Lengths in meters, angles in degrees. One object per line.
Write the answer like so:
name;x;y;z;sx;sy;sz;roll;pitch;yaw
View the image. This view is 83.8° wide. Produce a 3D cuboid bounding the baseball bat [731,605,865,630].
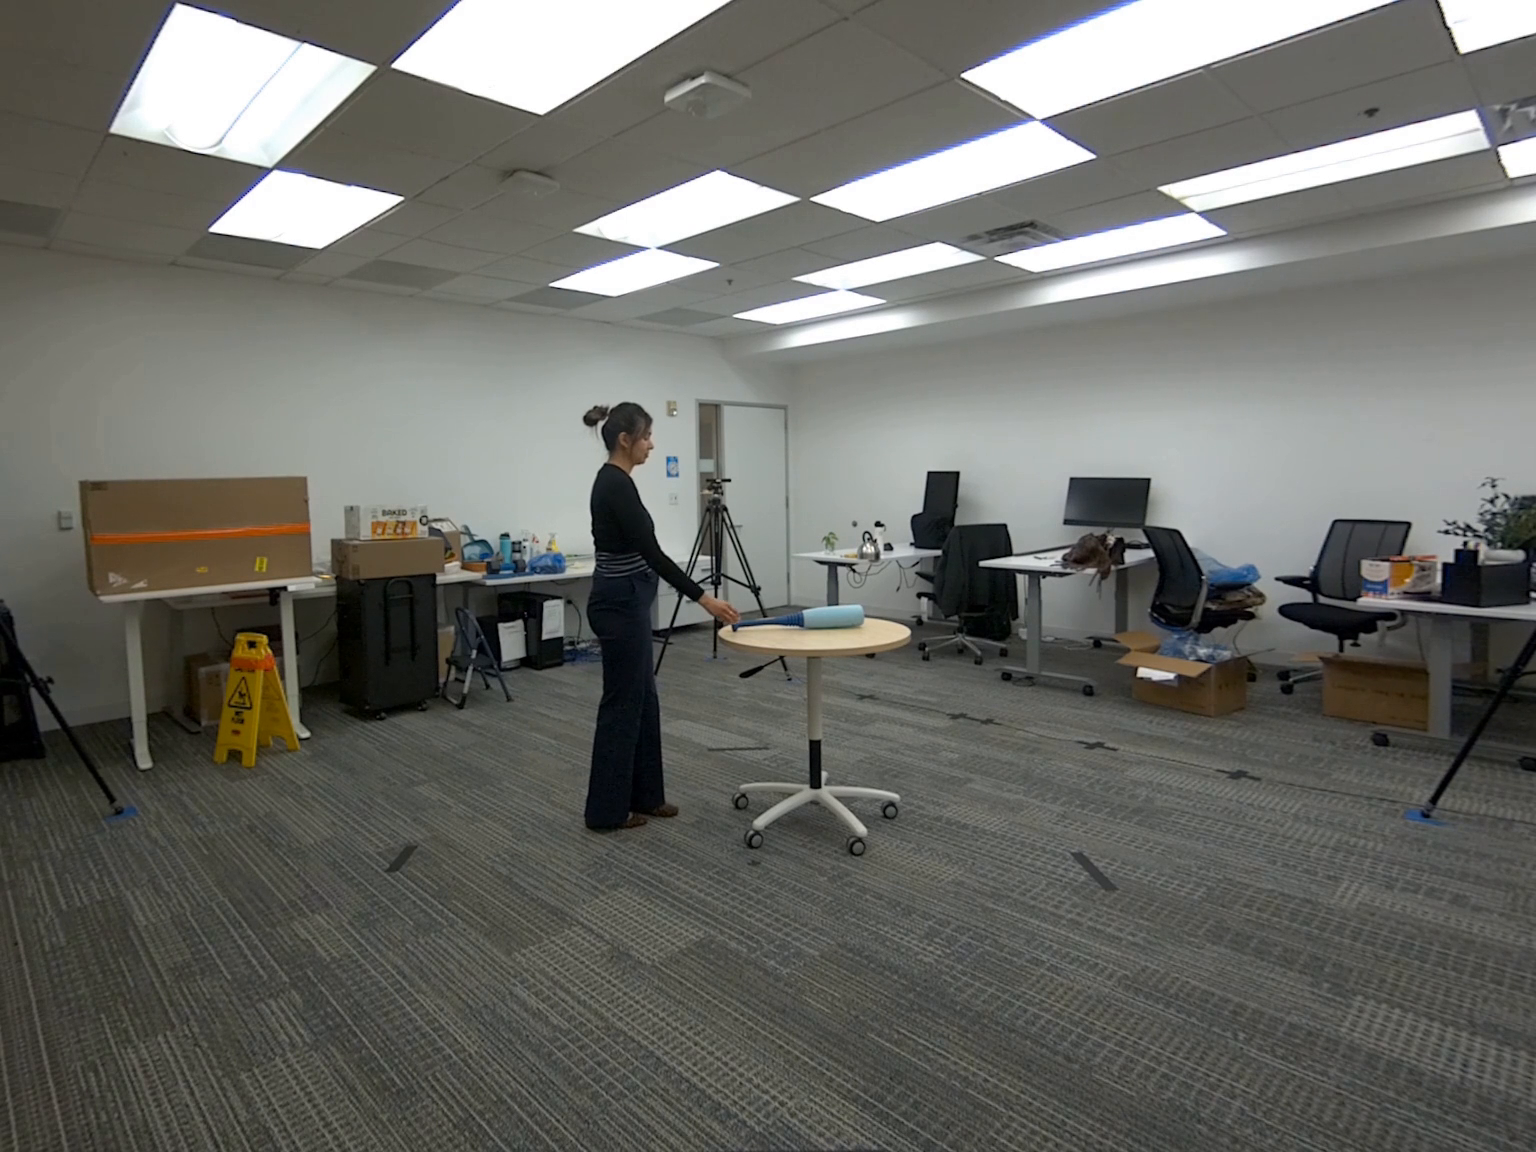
baseball bat;0.118;0.178;3.471;0.541;0.089;0.090;-4;5;-4
